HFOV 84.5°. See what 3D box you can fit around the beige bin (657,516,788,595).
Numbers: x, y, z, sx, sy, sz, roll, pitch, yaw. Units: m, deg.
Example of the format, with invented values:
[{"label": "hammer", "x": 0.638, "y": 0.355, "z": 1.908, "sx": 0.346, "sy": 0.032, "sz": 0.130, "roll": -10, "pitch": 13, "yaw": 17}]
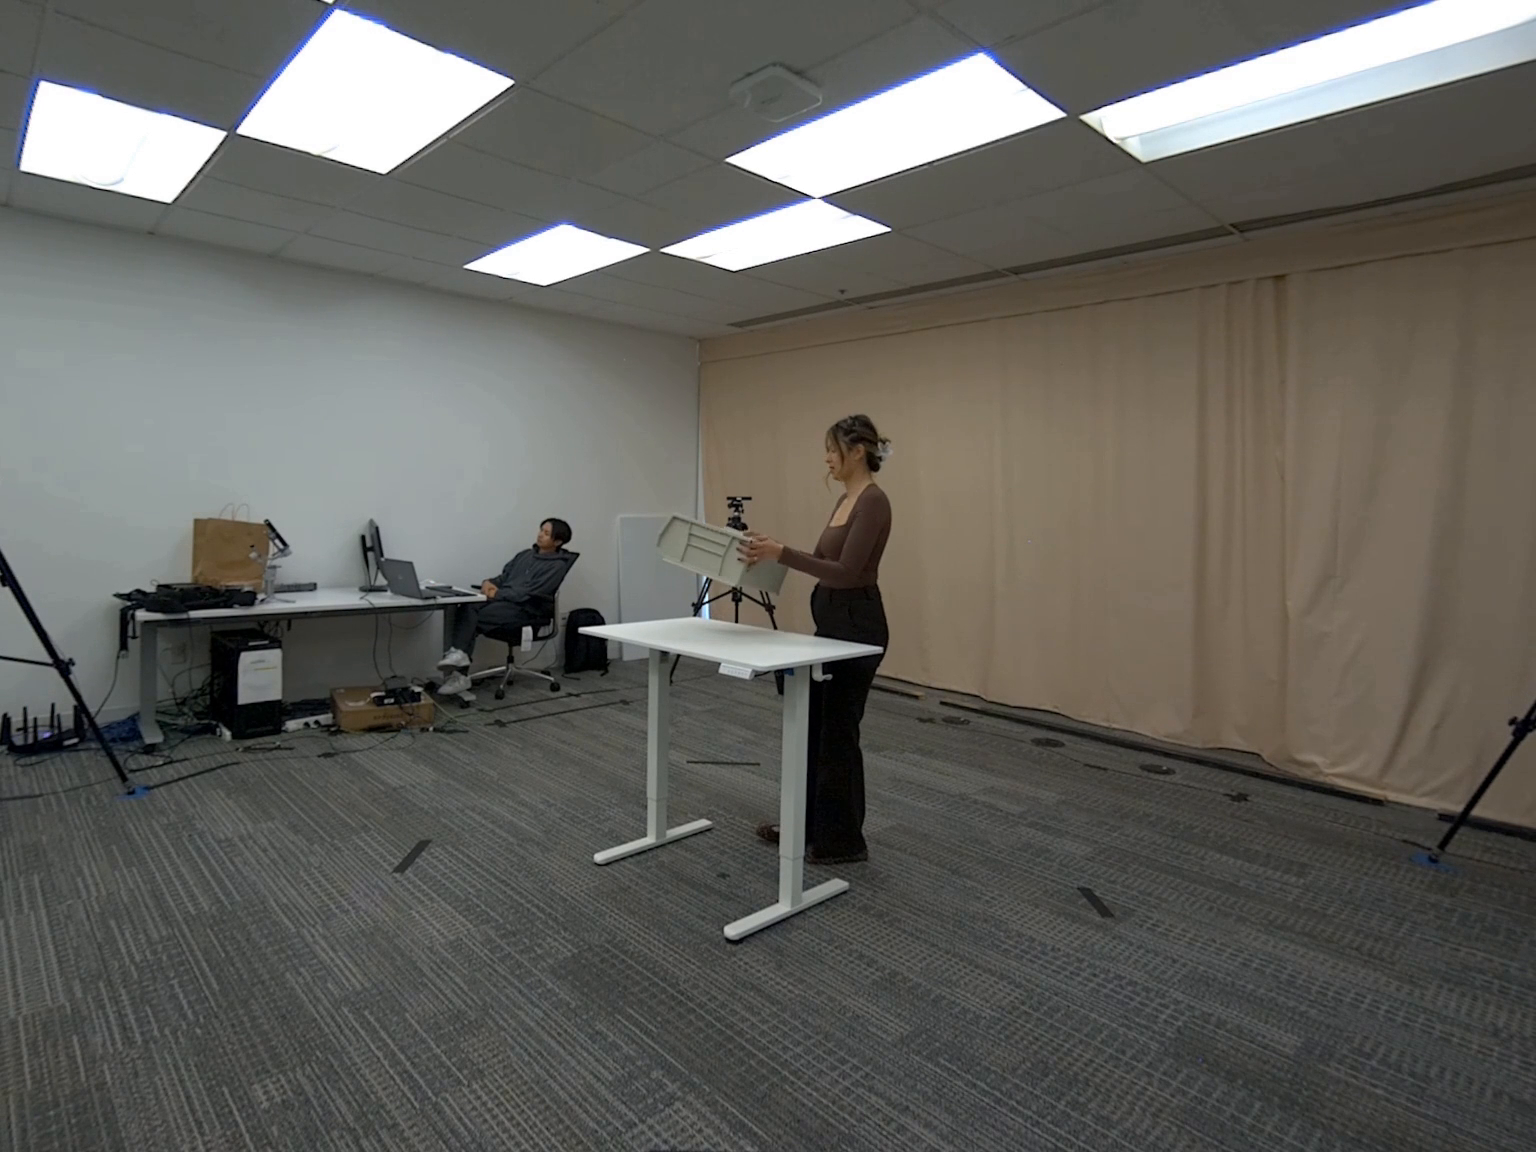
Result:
[{"label": "beige bin", "x": -0.160, "y": -0.078, "z": 3.197, "sx": 0.386, "sy": 0.189, "sz": 0.413, "roll": 22, "pitch": 4, "yaw": 24}]
